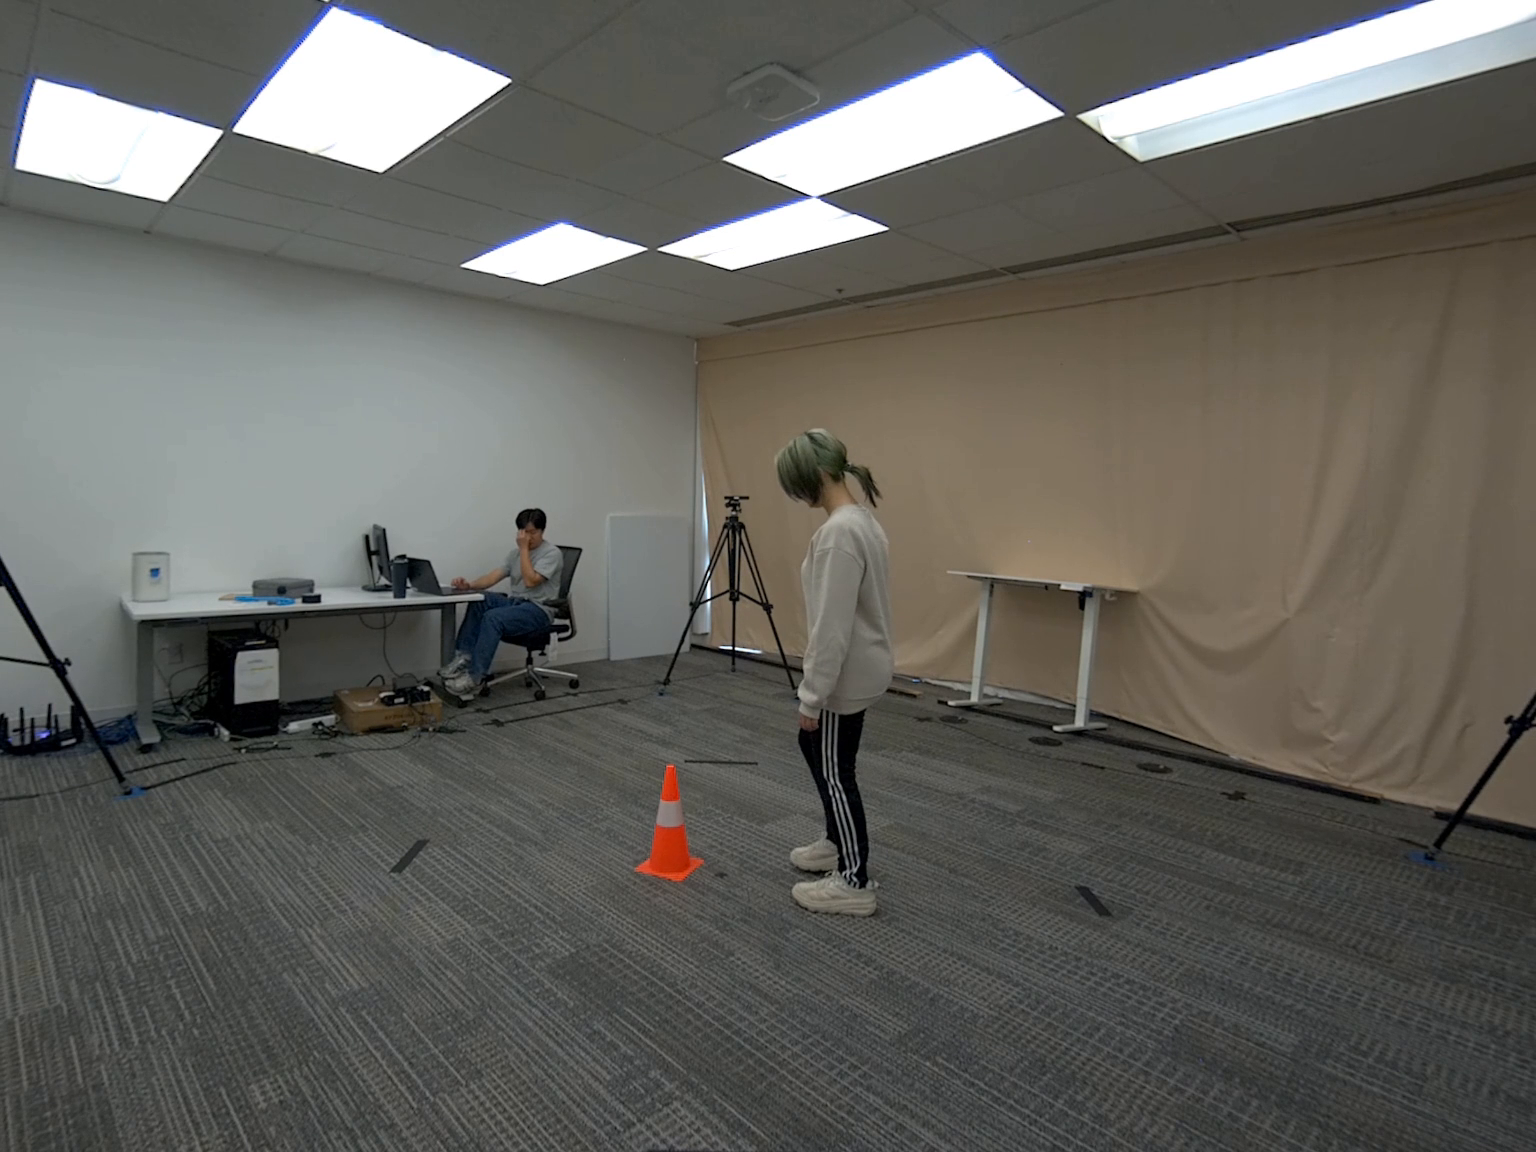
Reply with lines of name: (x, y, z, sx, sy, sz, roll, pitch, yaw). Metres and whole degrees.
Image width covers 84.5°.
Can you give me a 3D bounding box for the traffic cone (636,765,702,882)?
traffic cone: (-0.369, 0.904, 3.169, 0.207, 0.383, 0.201, 3, 3, 24)
